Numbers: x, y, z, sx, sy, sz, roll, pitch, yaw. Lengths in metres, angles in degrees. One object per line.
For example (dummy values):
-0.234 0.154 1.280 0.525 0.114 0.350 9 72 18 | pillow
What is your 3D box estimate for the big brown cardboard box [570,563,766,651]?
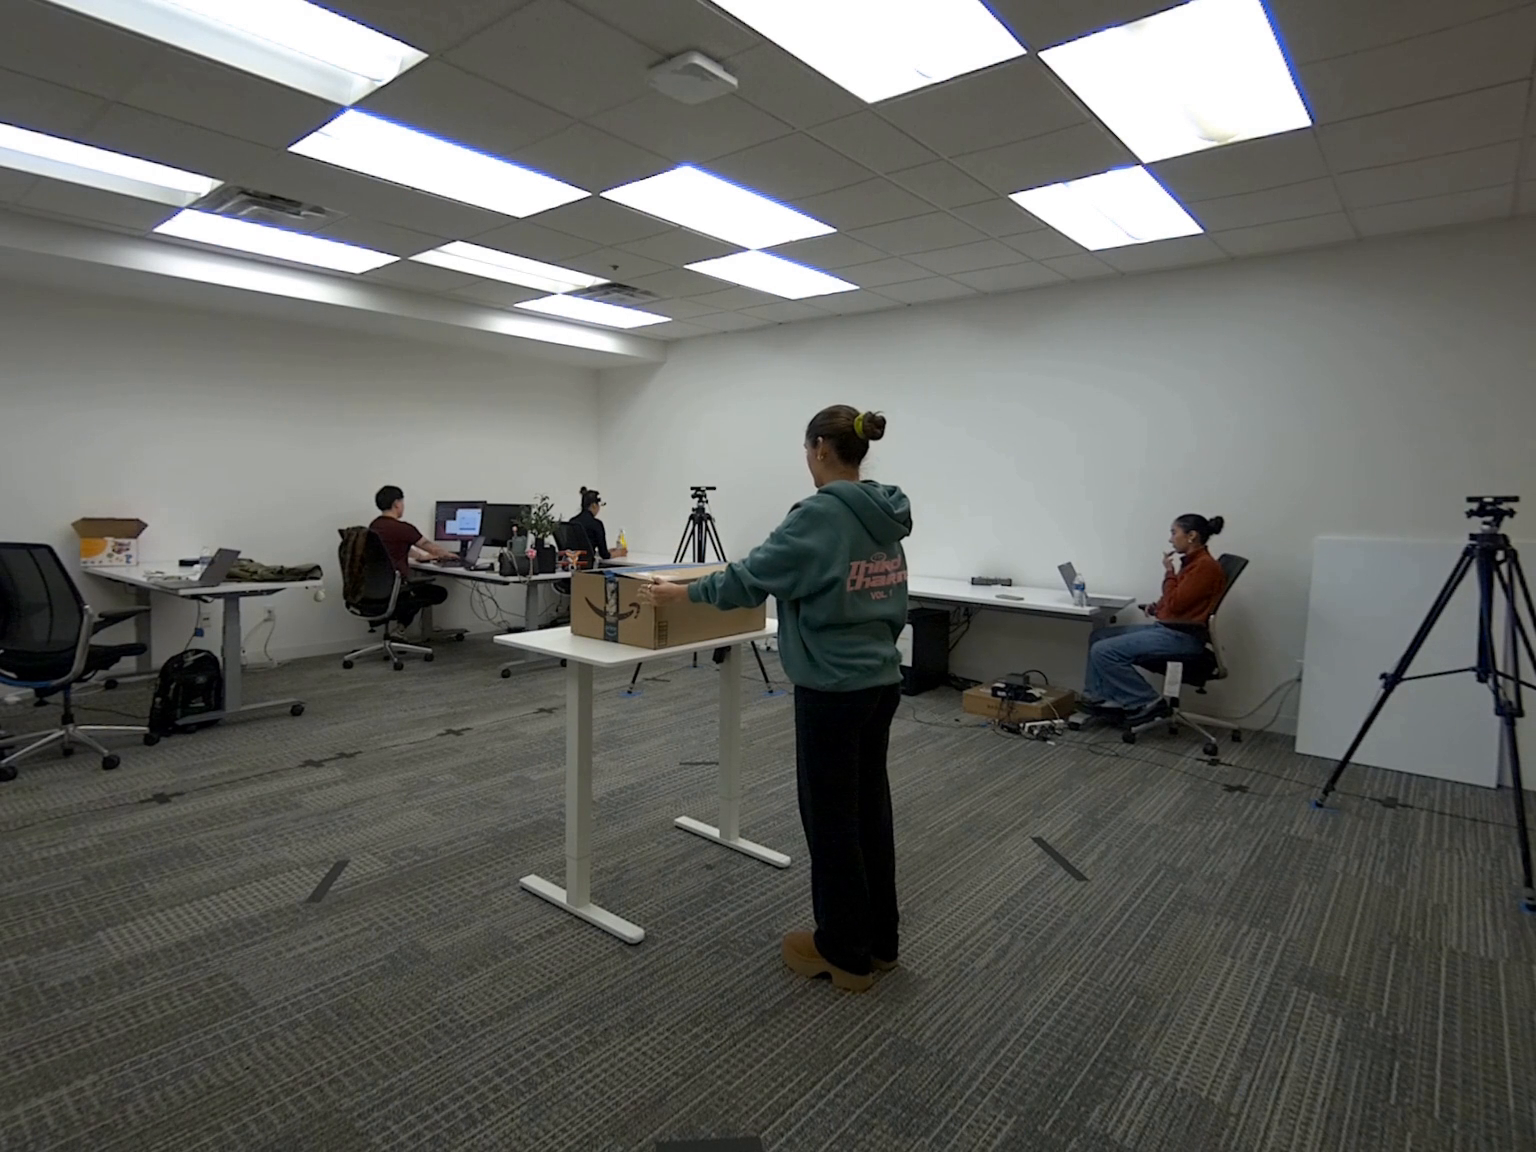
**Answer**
-0.354 0.089 2.971 0.431 0.232 0.571 5 6 39 | big brown cardboard box
